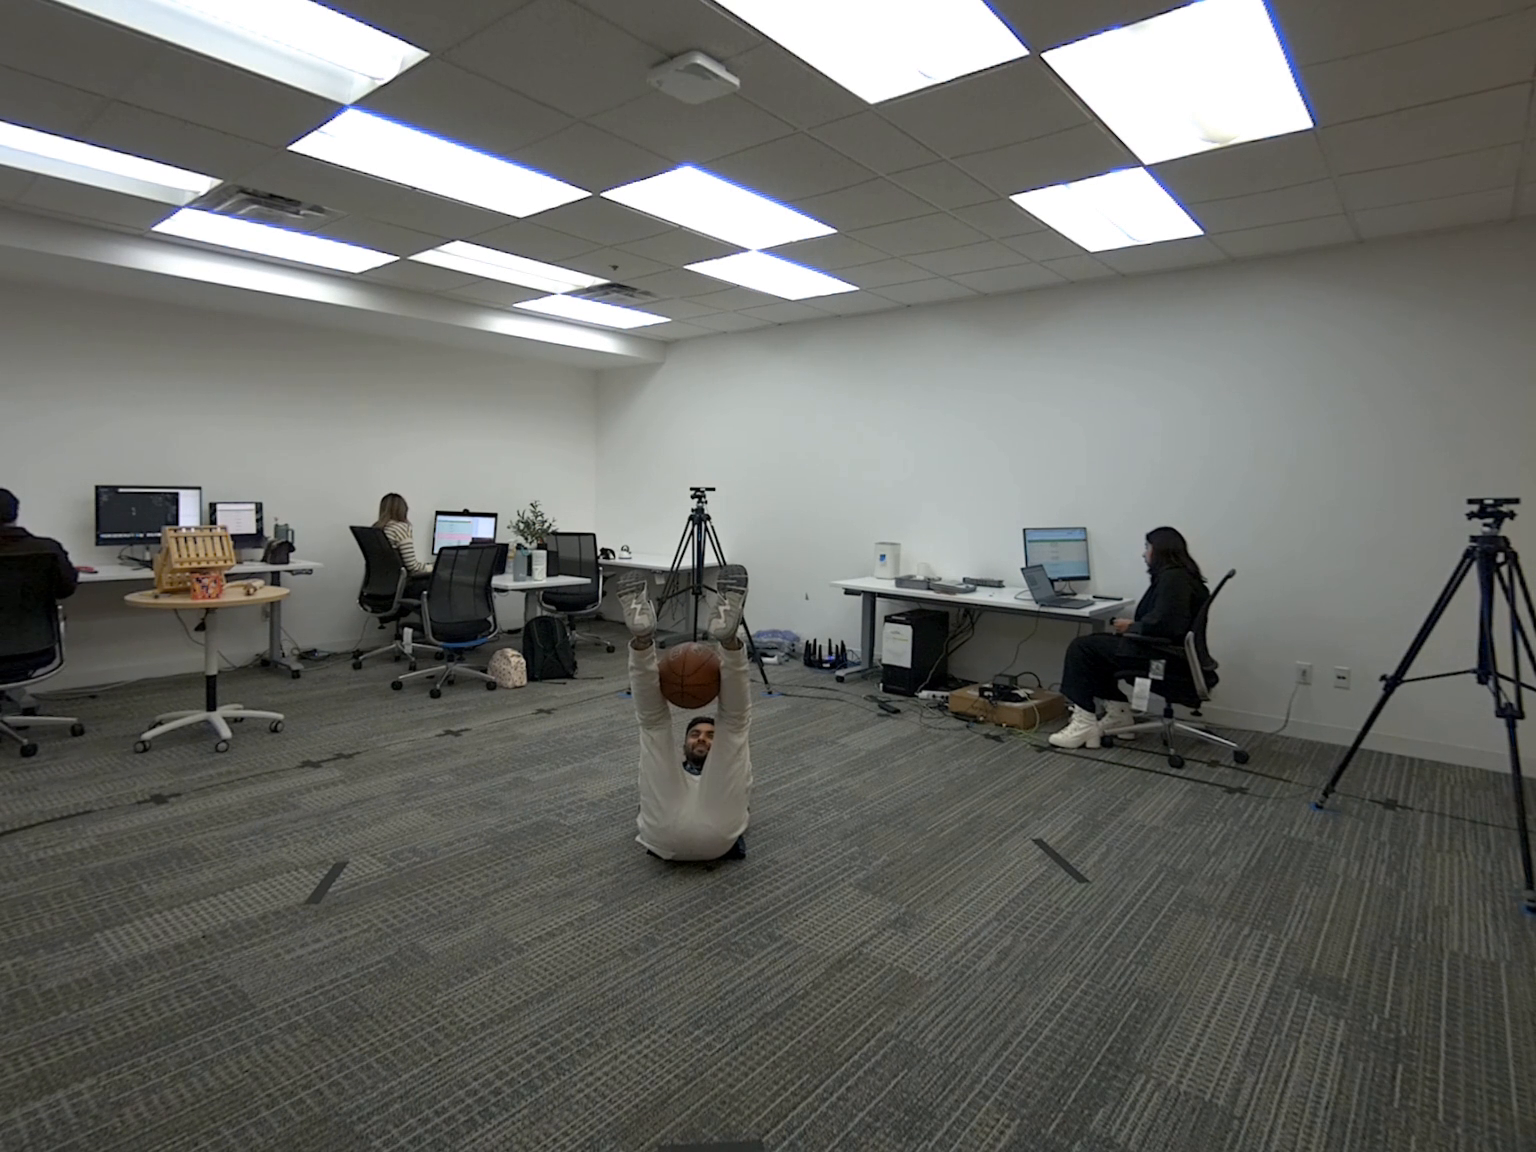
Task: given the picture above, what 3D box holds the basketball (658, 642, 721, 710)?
[{"bbox_3d":[-0.294,0.351,3.088,0.235,0.235,0.237,1,4,-2],"label":"basketball"}]
